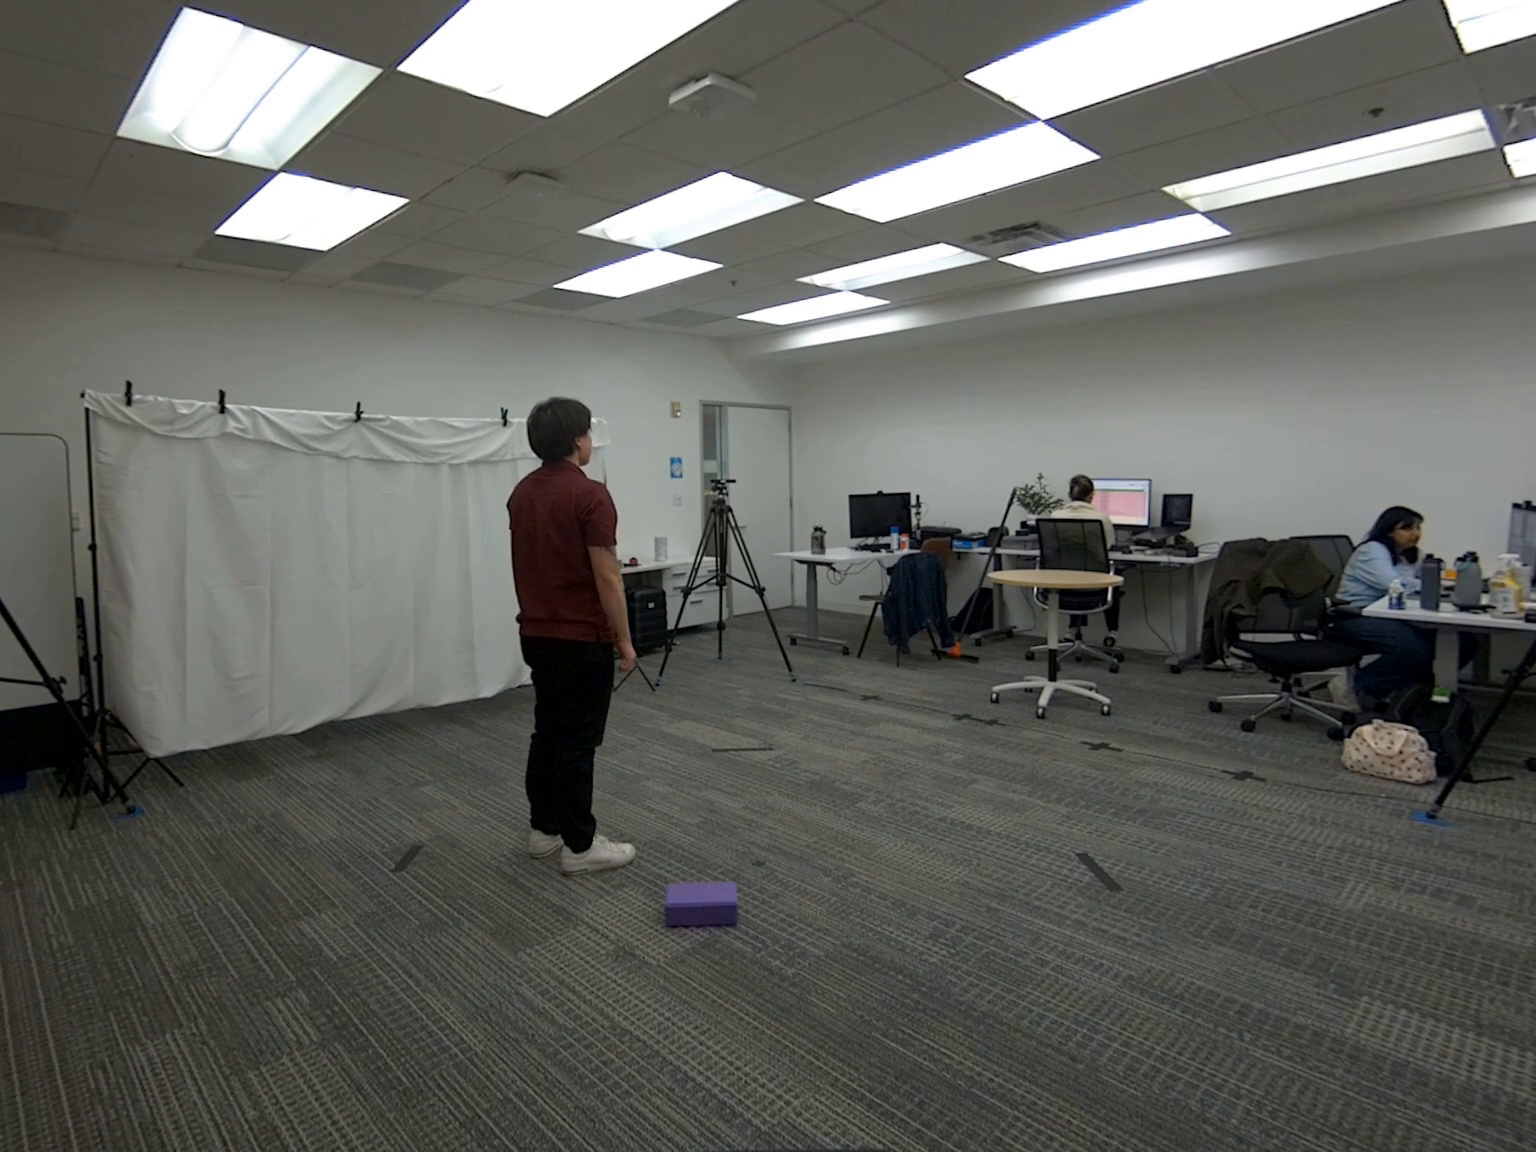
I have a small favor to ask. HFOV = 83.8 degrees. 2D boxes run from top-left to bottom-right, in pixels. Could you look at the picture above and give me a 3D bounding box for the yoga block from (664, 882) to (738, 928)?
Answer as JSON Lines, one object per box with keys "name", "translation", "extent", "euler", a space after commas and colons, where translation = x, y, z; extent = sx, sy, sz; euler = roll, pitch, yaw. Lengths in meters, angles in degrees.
{"name": "yoga block", "translation": [-0.212, 1.051, 2.745], "extent": [0.229, 0.076, 0.150], "euler": [-2, 5, -2]}
